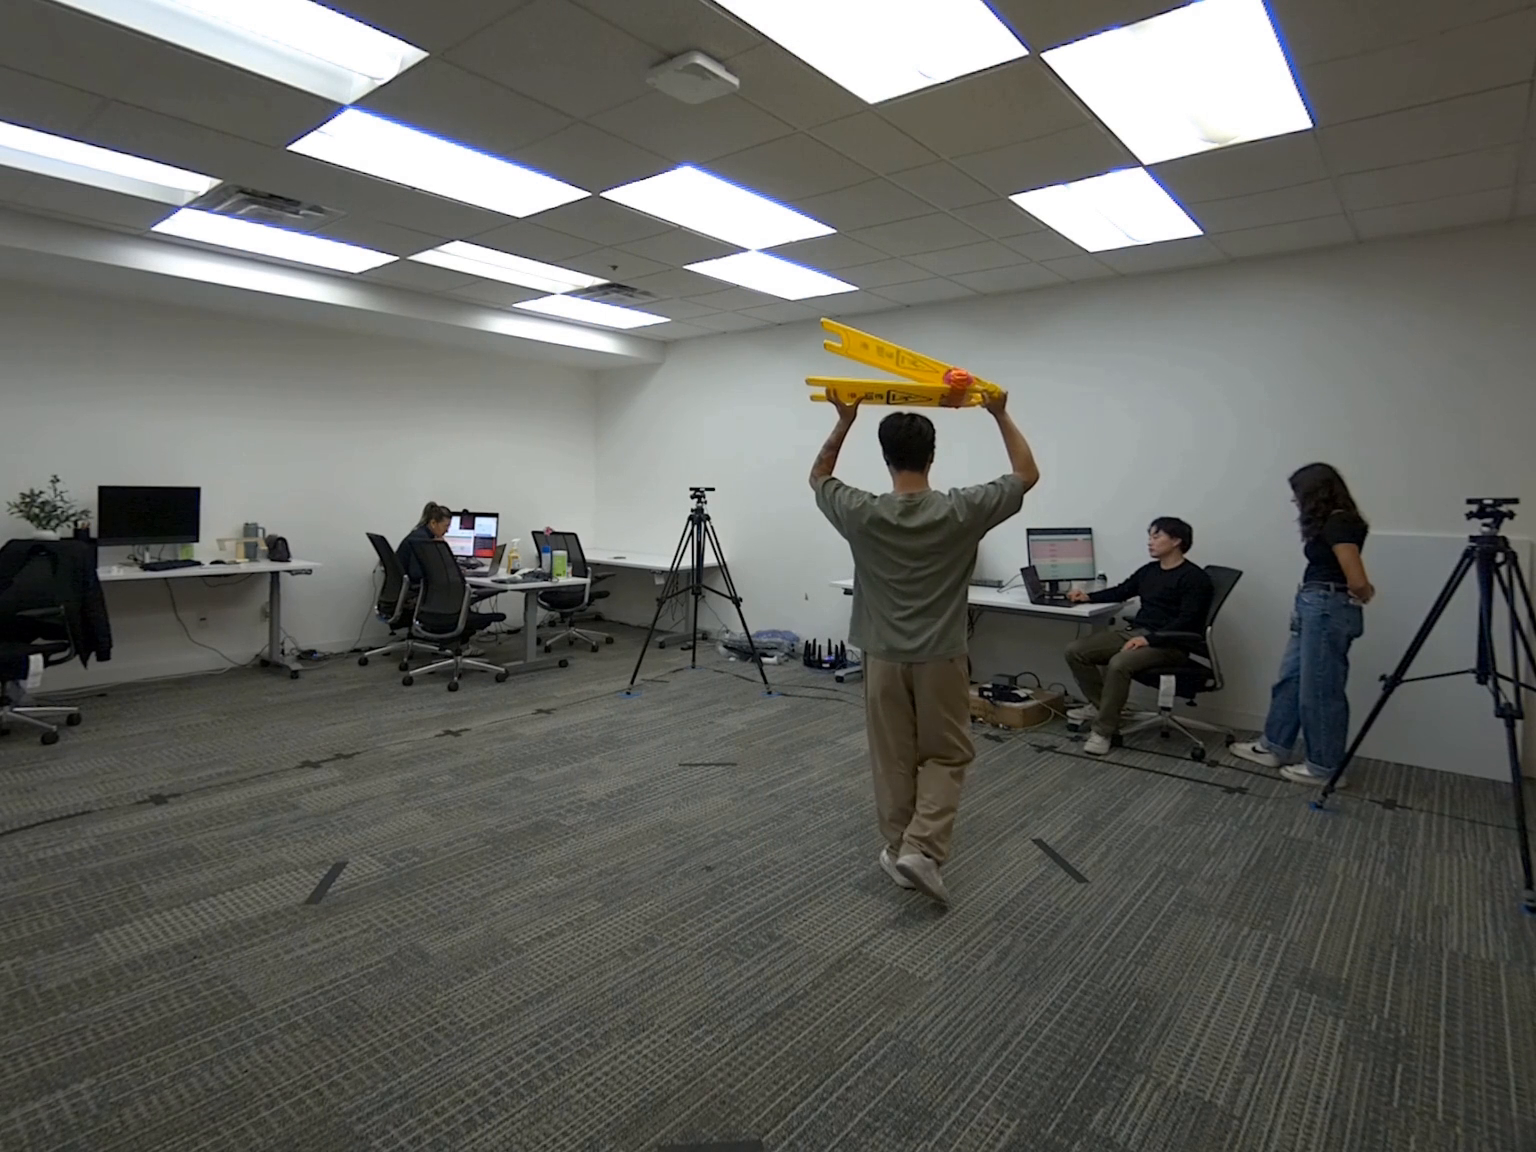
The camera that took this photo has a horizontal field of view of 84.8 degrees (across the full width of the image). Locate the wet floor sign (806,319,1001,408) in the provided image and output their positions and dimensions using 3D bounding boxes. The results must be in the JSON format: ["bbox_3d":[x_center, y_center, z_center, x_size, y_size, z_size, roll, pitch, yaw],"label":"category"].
[{"bbox_3d":[0.485,-0.699,3.028,0.655,0.291,0.277,12,-6,10],"label":"wet floor sign"}]
